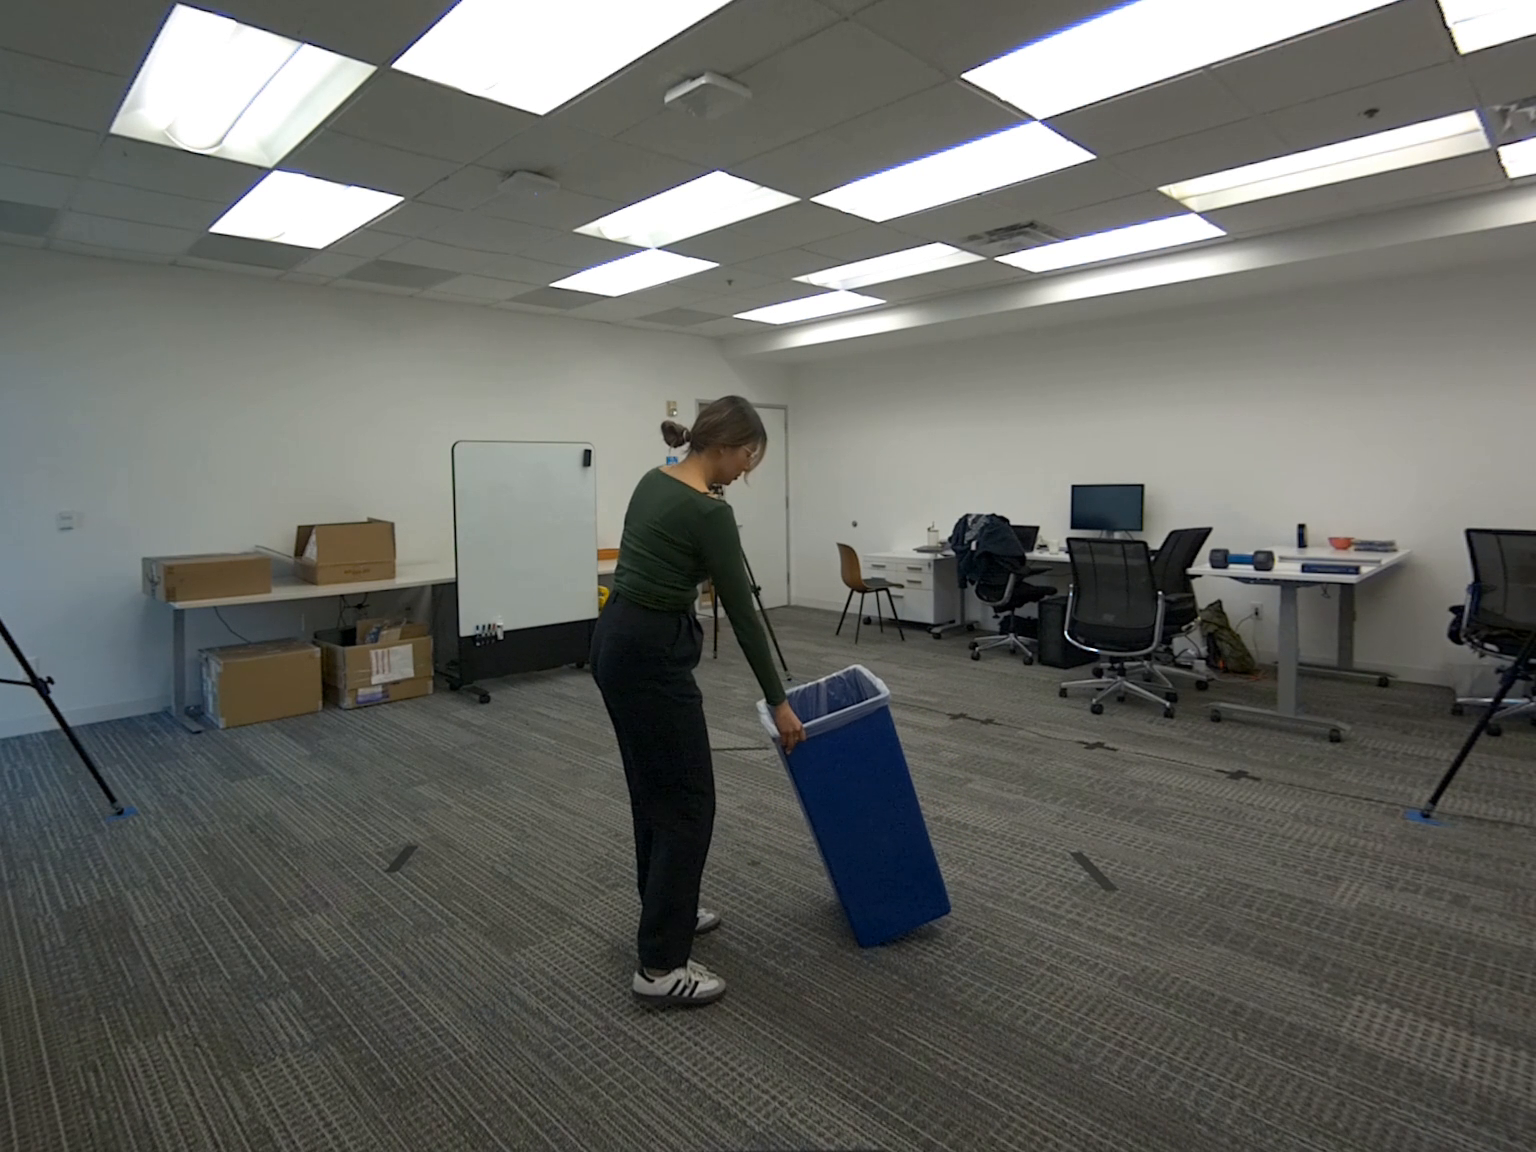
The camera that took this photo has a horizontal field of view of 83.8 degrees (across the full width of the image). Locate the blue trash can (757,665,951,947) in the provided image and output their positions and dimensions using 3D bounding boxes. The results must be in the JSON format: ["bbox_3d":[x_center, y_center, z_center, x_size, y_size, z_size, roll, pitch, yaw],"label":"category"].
[{"bbox_3d":[0.279,0.707,2.651,0.373,0.708,0.382,-21,7,-4],"label":"blue trash can"}]
